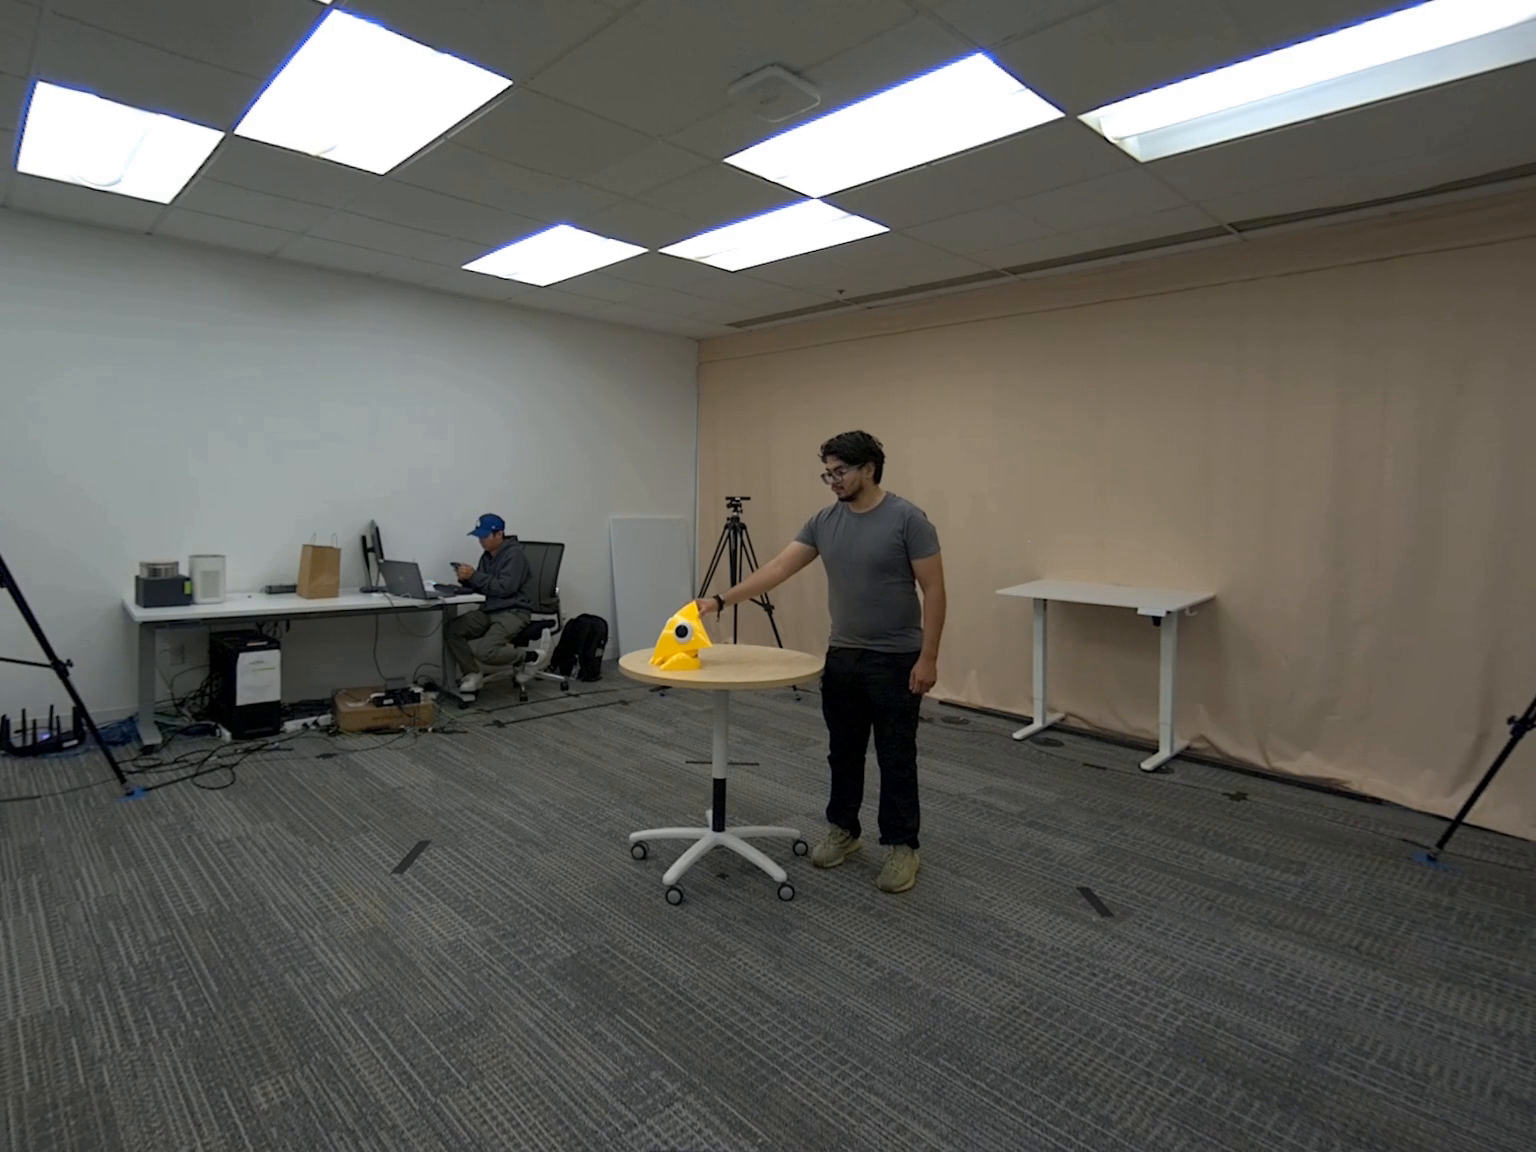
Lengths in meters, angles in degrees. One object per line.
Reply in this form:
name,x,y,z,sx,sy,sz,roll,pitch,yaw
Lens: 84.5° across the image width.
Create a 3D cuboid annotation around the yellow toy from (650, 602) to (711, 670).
yellow toy,-0.322,0.207,3.045,0.189,0.230,0.209,-1,4,-25
